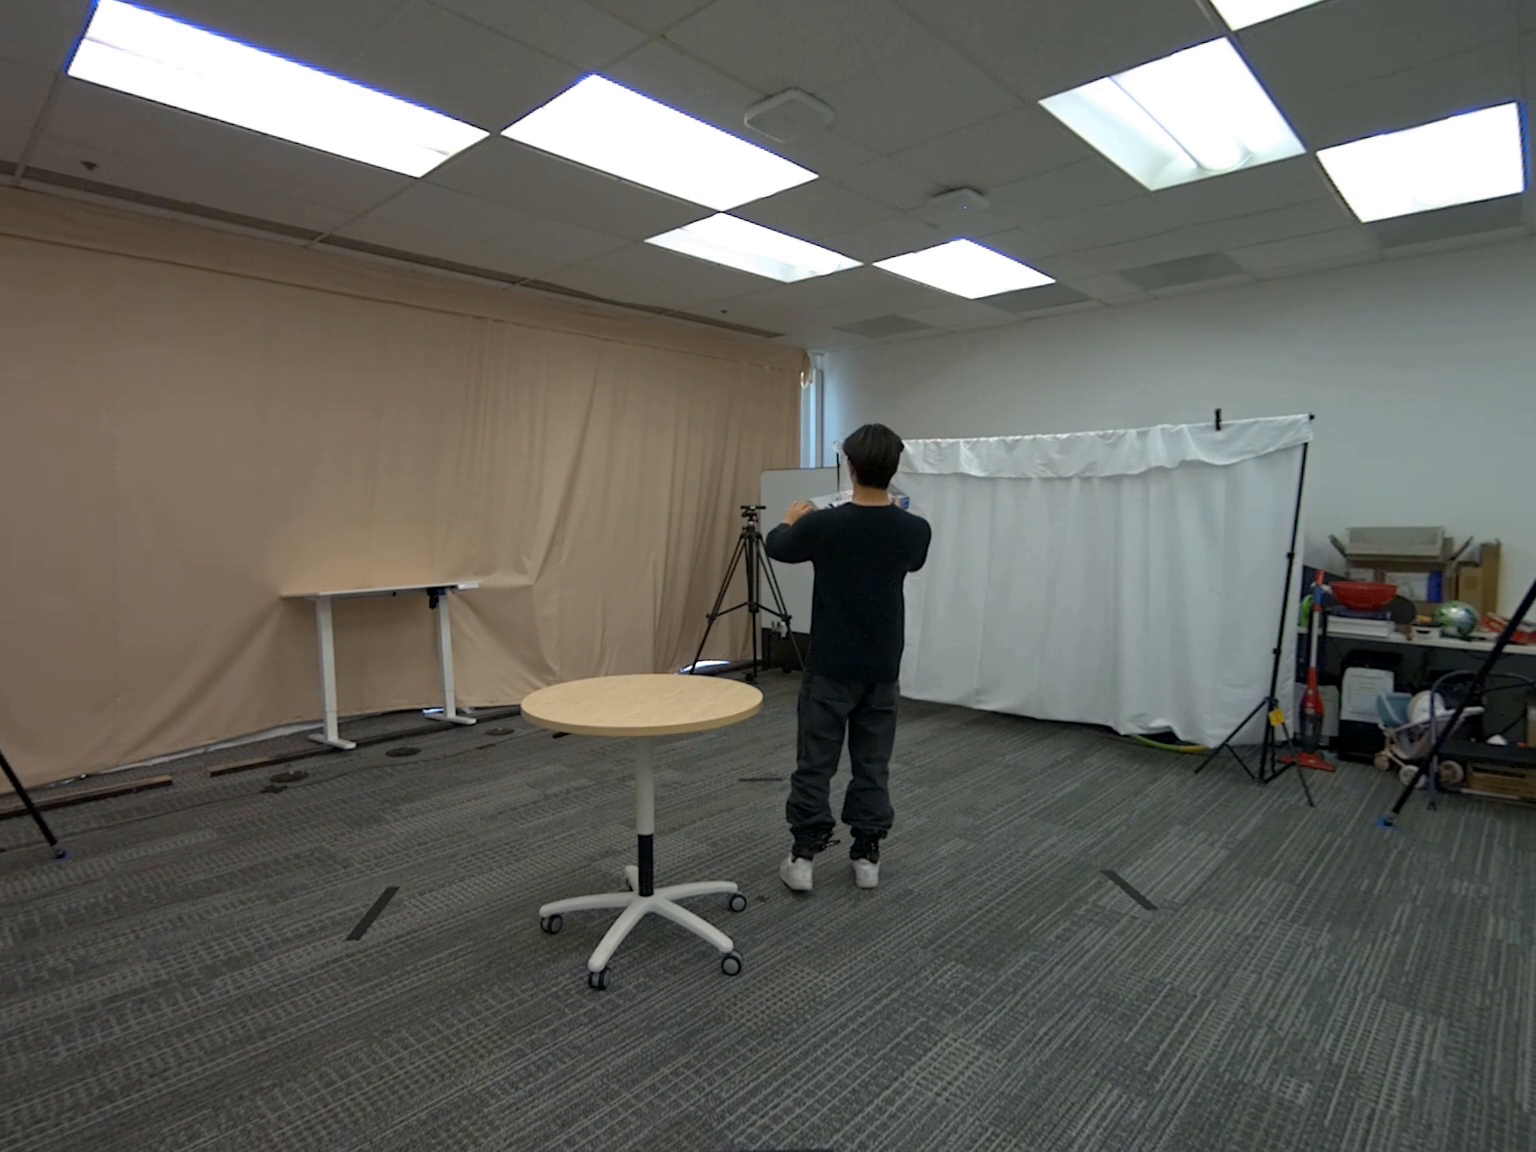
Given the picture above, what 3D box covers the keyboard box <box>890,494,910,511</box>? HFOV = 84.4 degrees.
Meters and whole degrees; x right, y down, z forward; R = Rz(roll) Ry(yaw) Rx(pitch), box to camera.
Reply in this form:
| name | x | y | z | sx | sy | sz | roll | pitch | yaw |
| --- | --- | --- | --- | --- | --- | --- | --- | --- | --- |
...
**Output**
| name | x | y | z | sx | sy | sz | roll | pitch | yaw |
| --- | --- | --- | --- | --- | --- | --- | --- | --- | --- |
| keyboard box | 0.364 | -0.299 | 3.549 | 0.431 | 0.058 | 0.182 | -16 | 34 | -17 |
